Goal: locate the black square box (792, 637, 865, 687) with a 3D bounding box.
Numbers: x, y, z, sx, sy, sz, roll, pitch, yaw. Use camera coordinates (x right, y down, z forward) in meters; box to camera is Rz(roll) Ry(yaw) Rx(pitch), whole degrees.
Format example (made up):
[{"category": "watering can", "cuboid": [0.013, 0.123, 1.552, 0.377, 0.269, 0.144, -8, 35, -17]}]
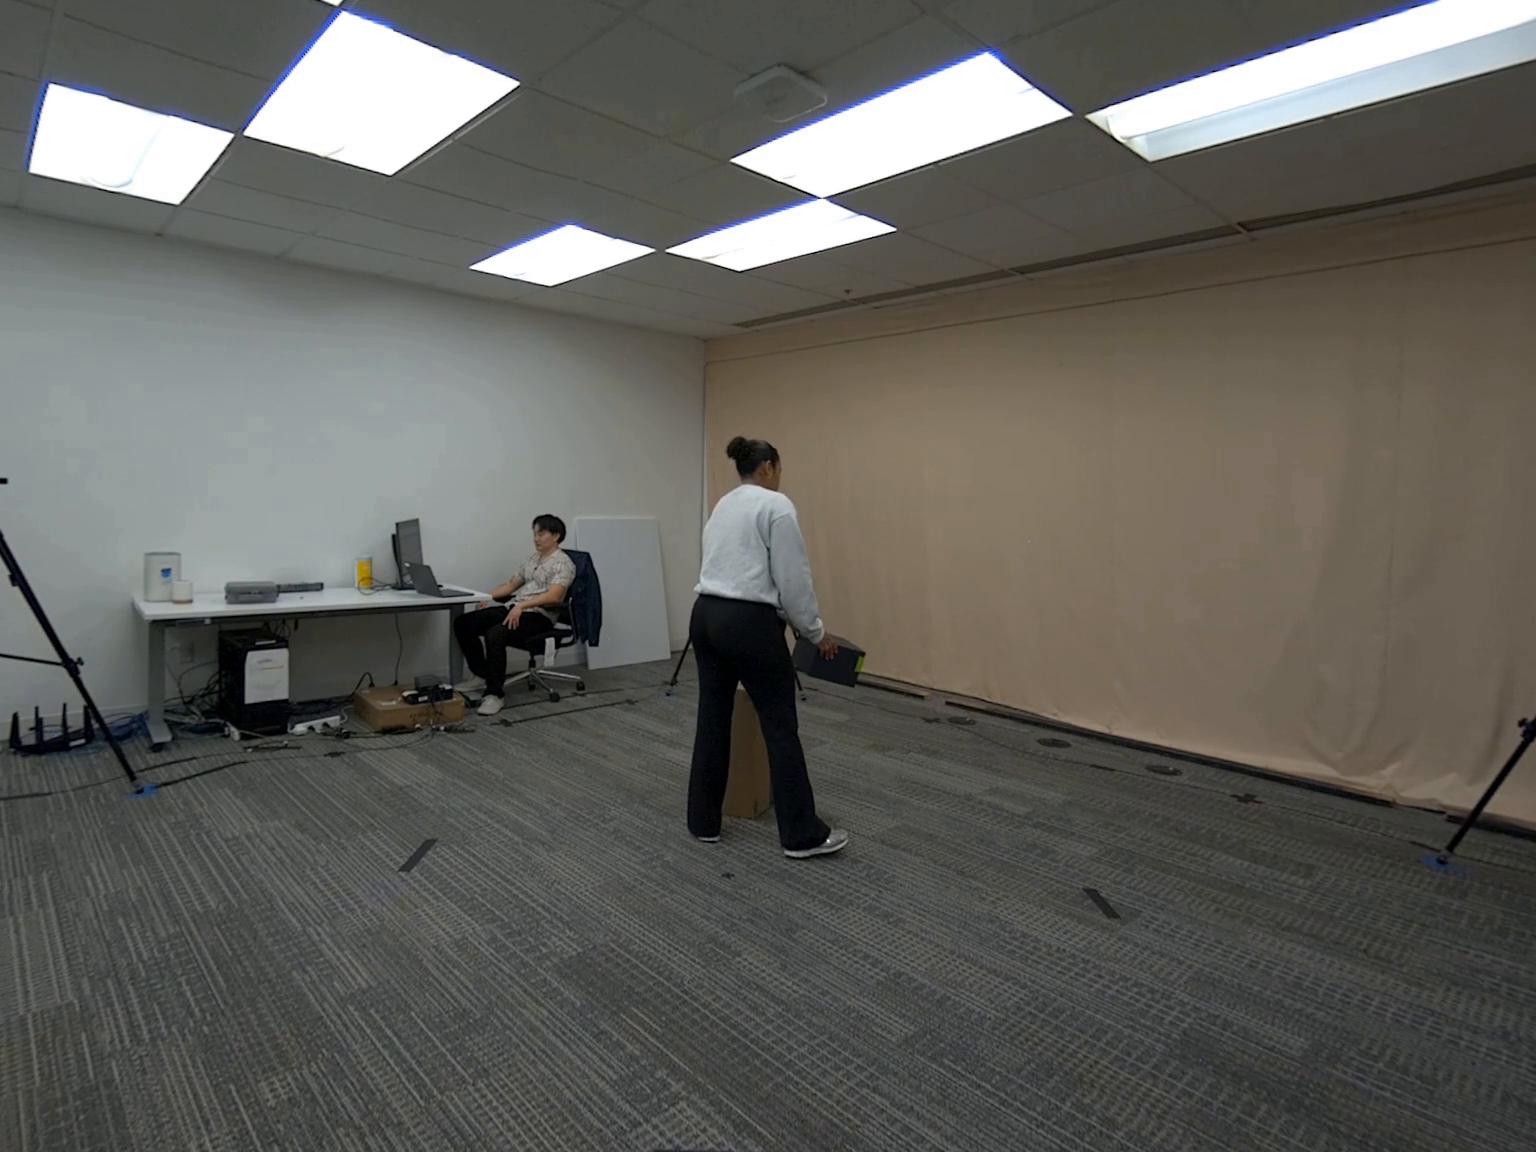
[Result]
[{"category": "black square box", "cuboid": [0.248, 0.337, 3.517, 0.213, 0.155, 0.232, 15, 6, -20]}]
